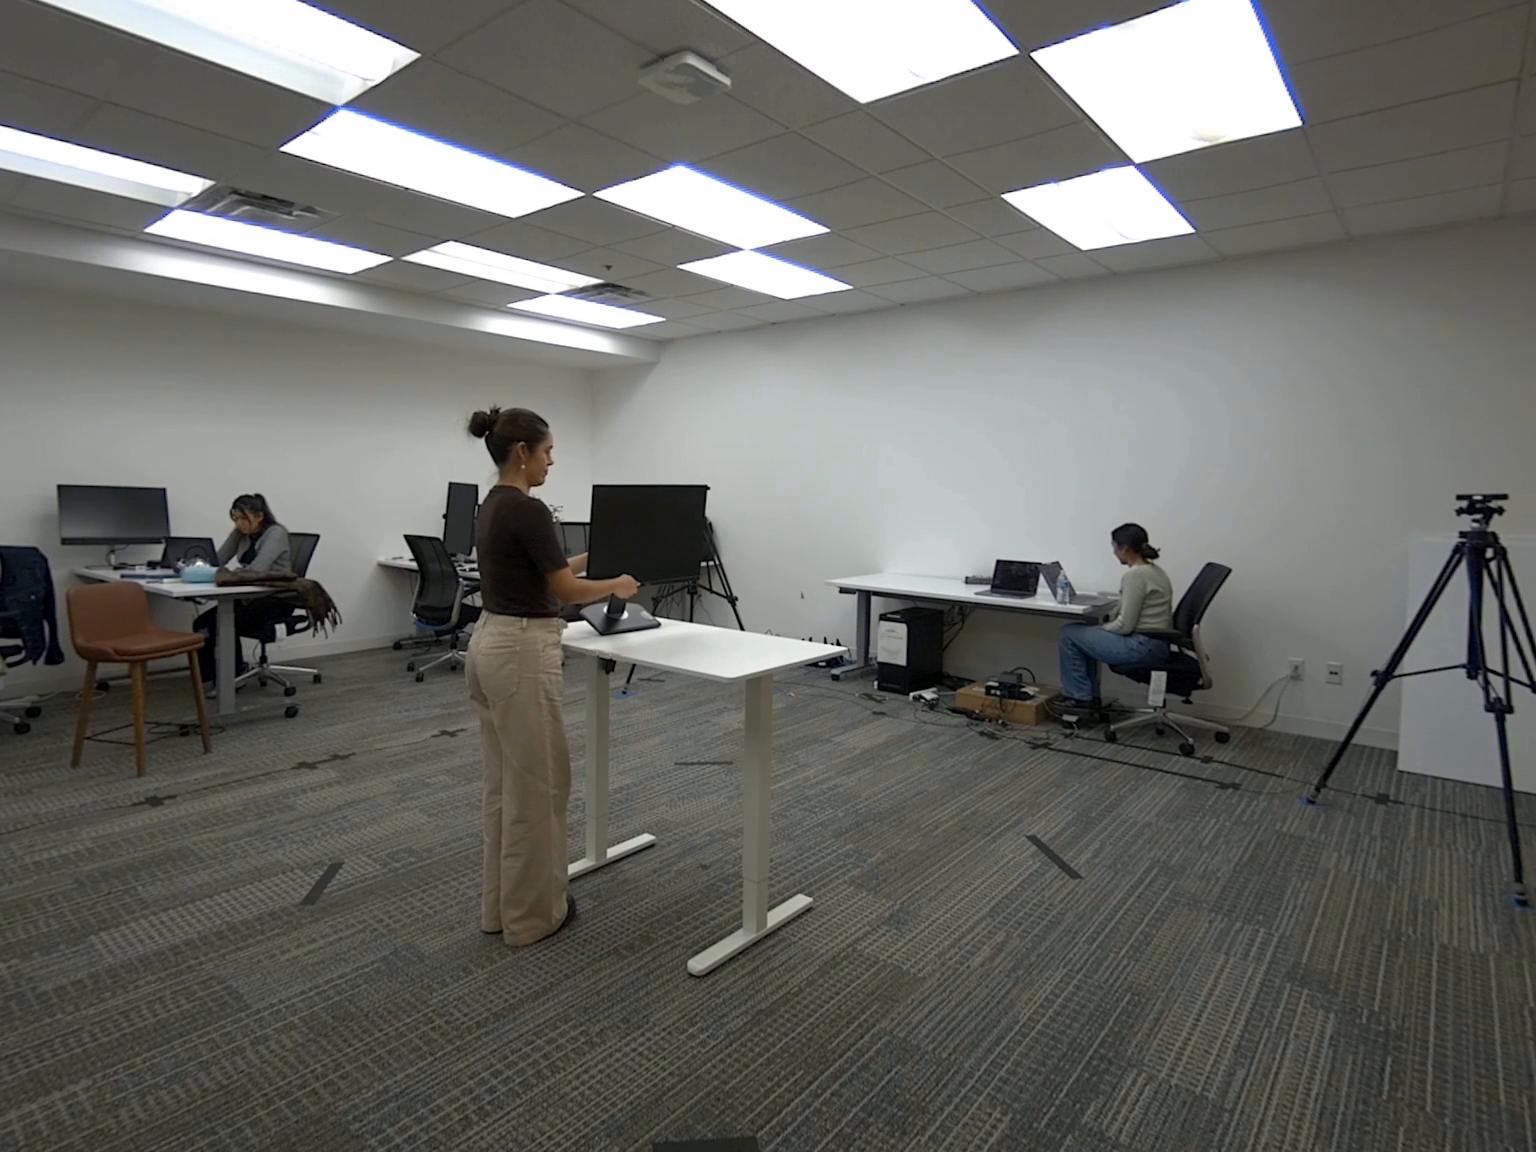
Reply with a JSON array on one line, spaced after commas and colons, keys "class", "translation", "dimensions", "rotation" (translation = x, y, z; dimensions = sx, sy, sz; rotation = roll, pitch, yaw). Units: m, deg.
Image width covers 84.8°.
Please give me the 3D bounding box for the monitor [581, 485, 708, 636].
[{"class": "monitor", "translation": [-0.460, -0.071, 2.943], "dimensions": [0.194, 0.517, 0.524], "rotation": [28, 20, 33]}]
